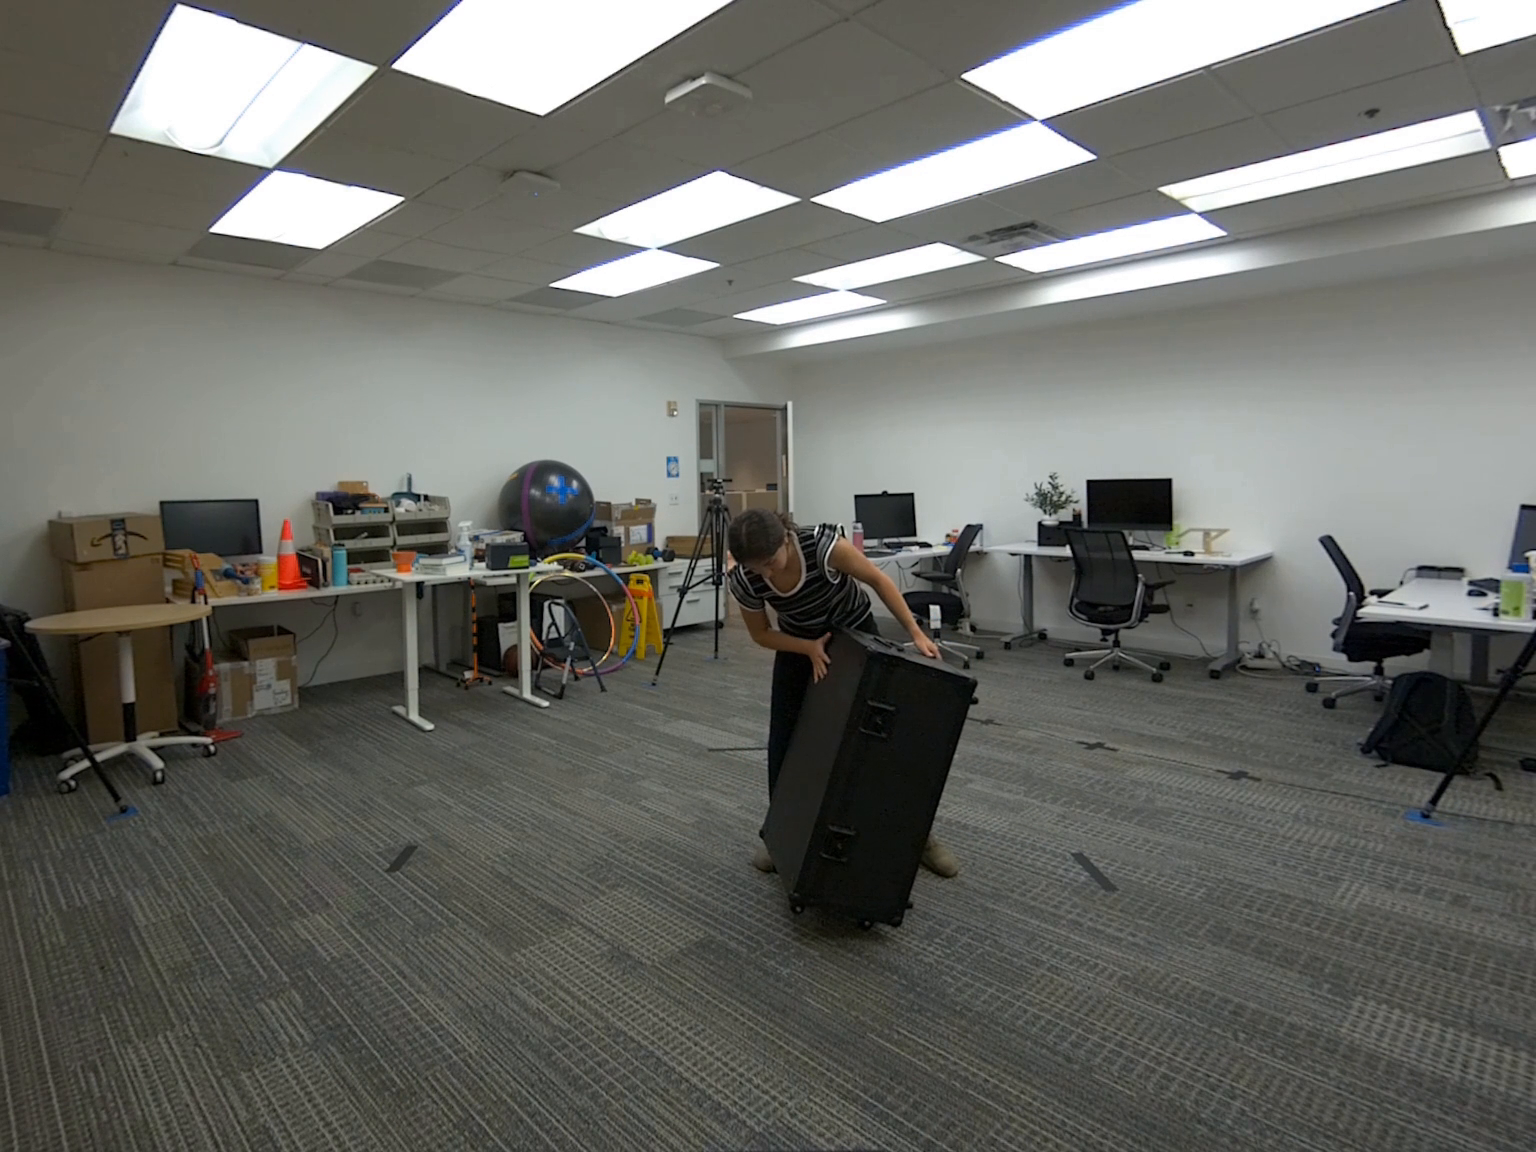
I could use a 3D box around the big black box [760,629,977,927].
[{"bbox_3d":[0.304,0.649,2.749,0.392,0.861,0.527,18,2,-10],"label":"big black box"}]
